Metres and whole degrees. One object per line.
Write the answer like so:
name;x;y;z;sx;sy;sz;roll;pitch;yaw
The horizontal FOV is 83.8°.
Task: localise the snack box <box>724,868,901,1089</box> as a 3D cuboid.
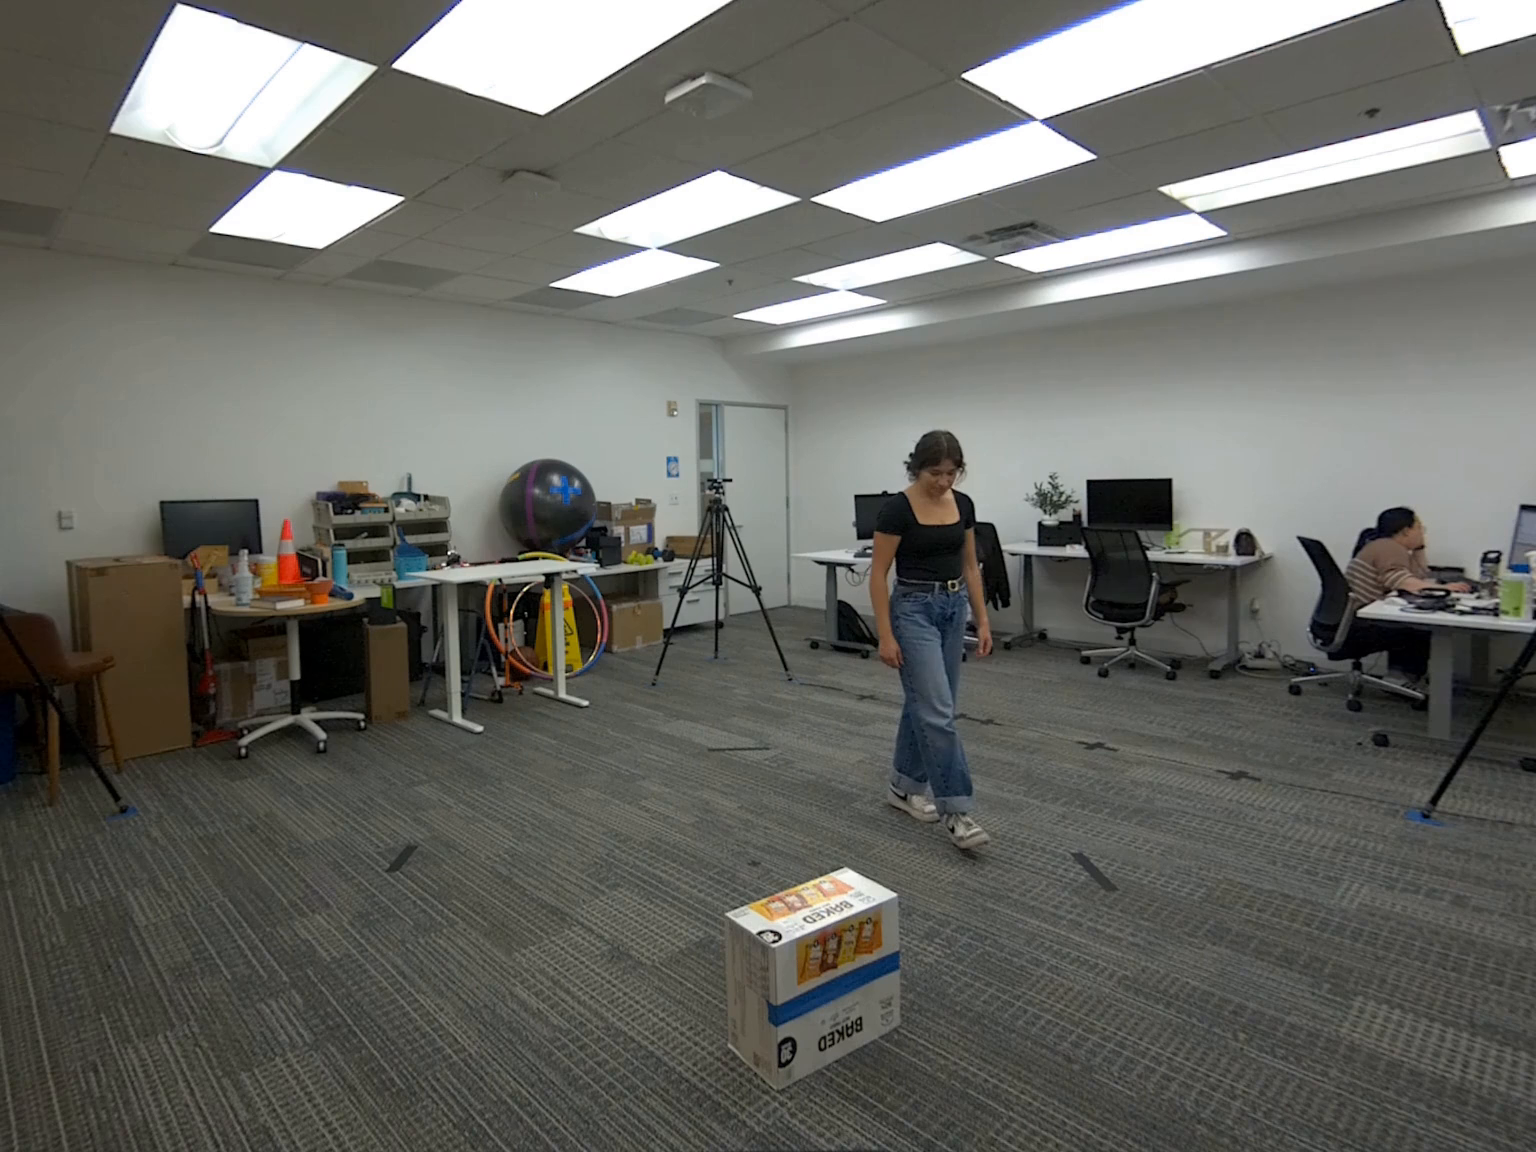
snack box;0.121;0.987;2.134;0.395;0.339;0.211;-5;4;-36
